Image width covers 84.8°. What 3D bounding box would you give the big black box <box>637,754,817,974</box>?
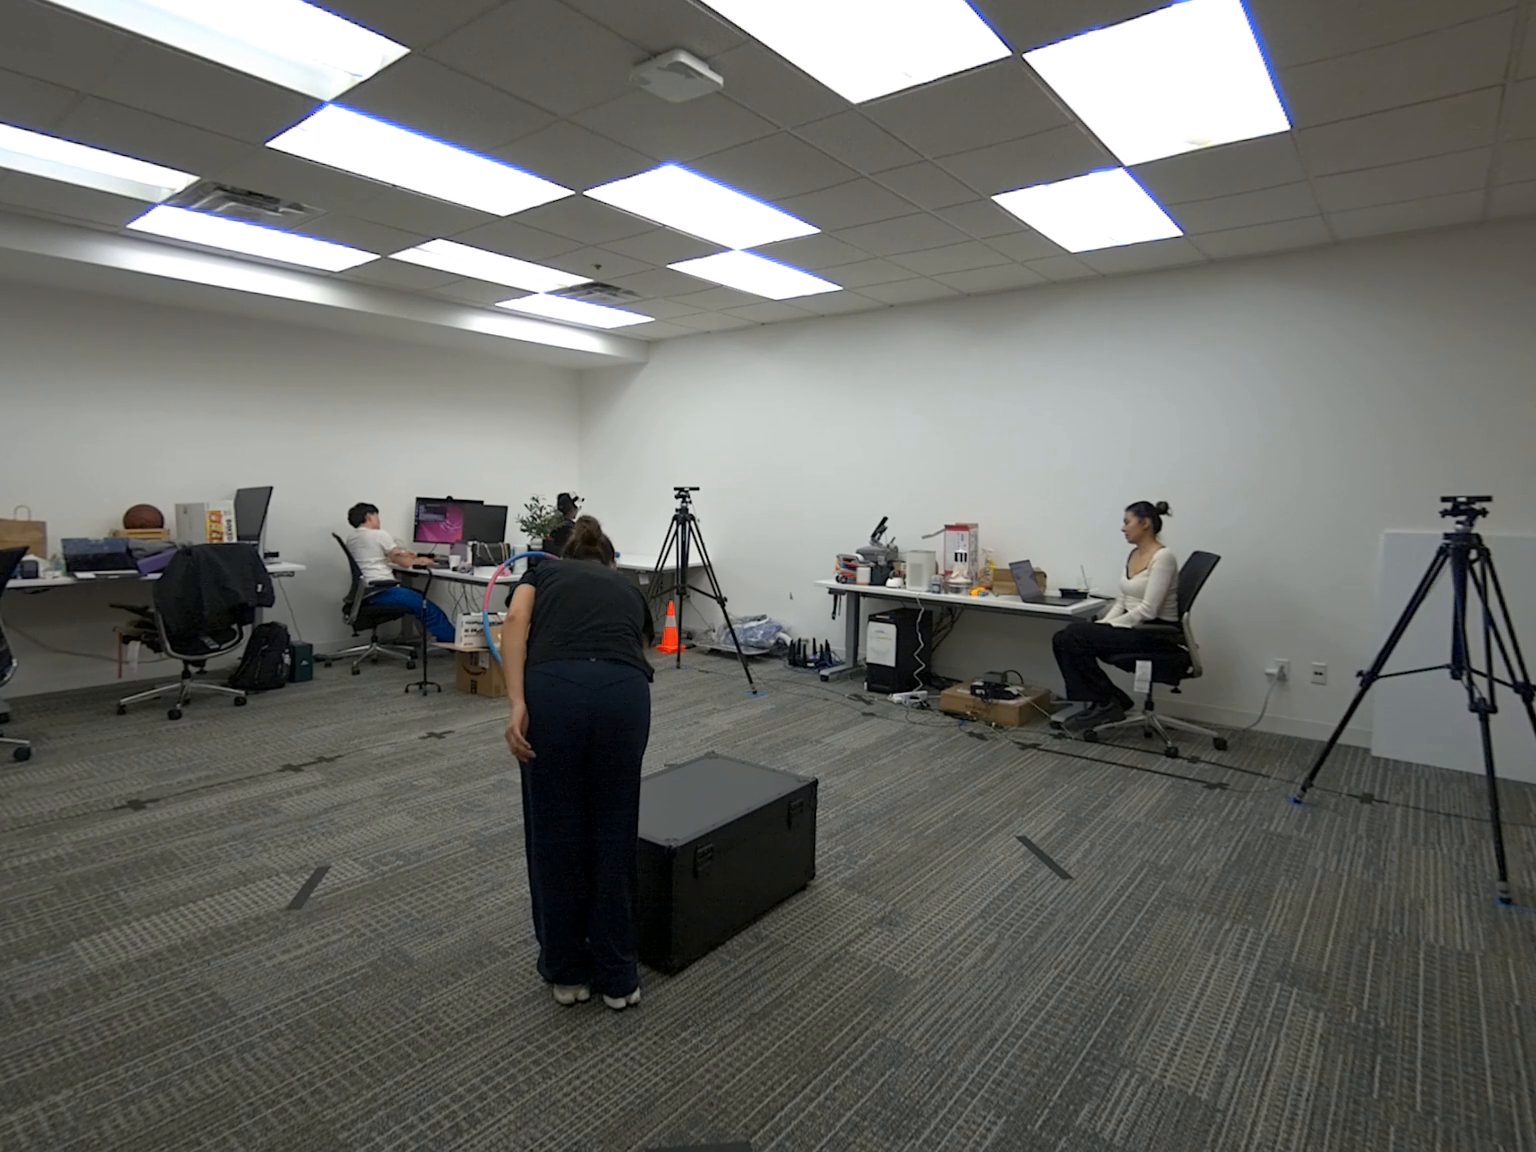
[{"bbox_3d":[-0.210,0.899,2.868,0.538,0.394,0.837,5,7,36],"label":"big black box"}]
